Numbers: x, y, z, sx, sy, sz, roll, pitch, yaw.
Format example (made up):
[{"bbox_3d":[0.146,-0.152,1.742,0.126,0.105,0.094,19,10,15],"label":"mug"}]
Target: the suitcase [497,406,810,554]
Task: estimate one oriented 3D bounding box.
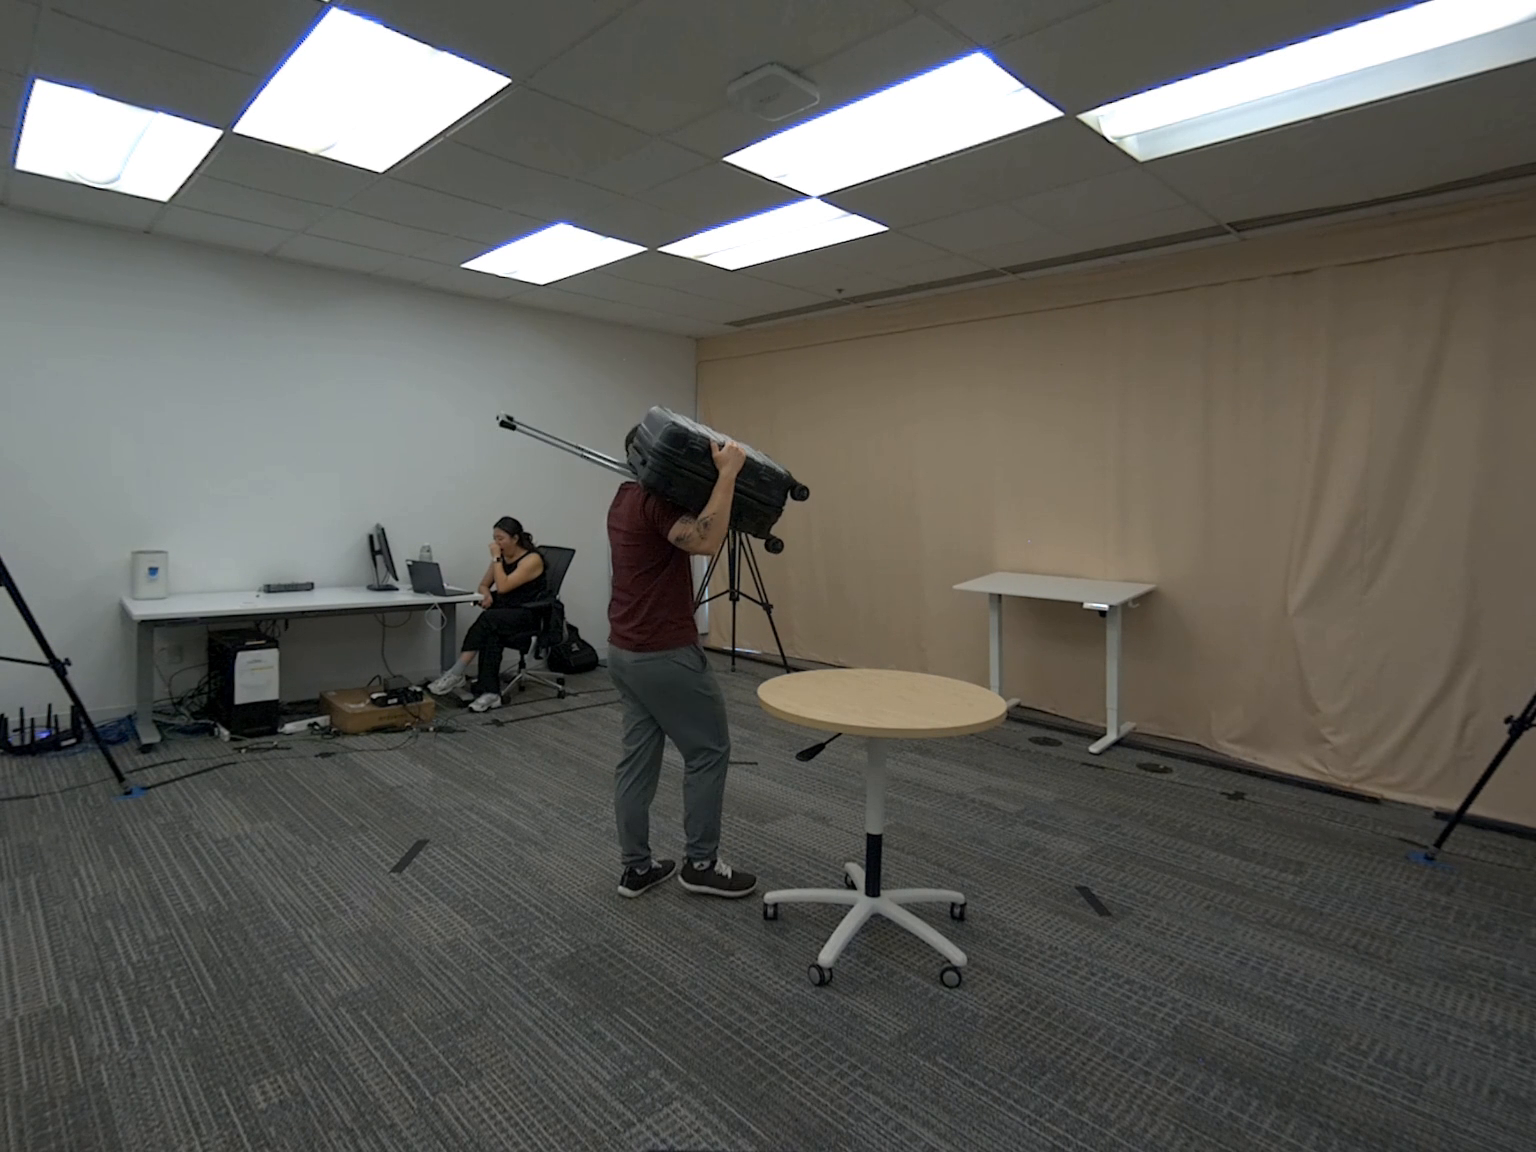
[{"bbox_3d":[-0.358,-0.412,2.726,0.956,0.256,0.394,23,11,-26],"label":"suitcase"}]
